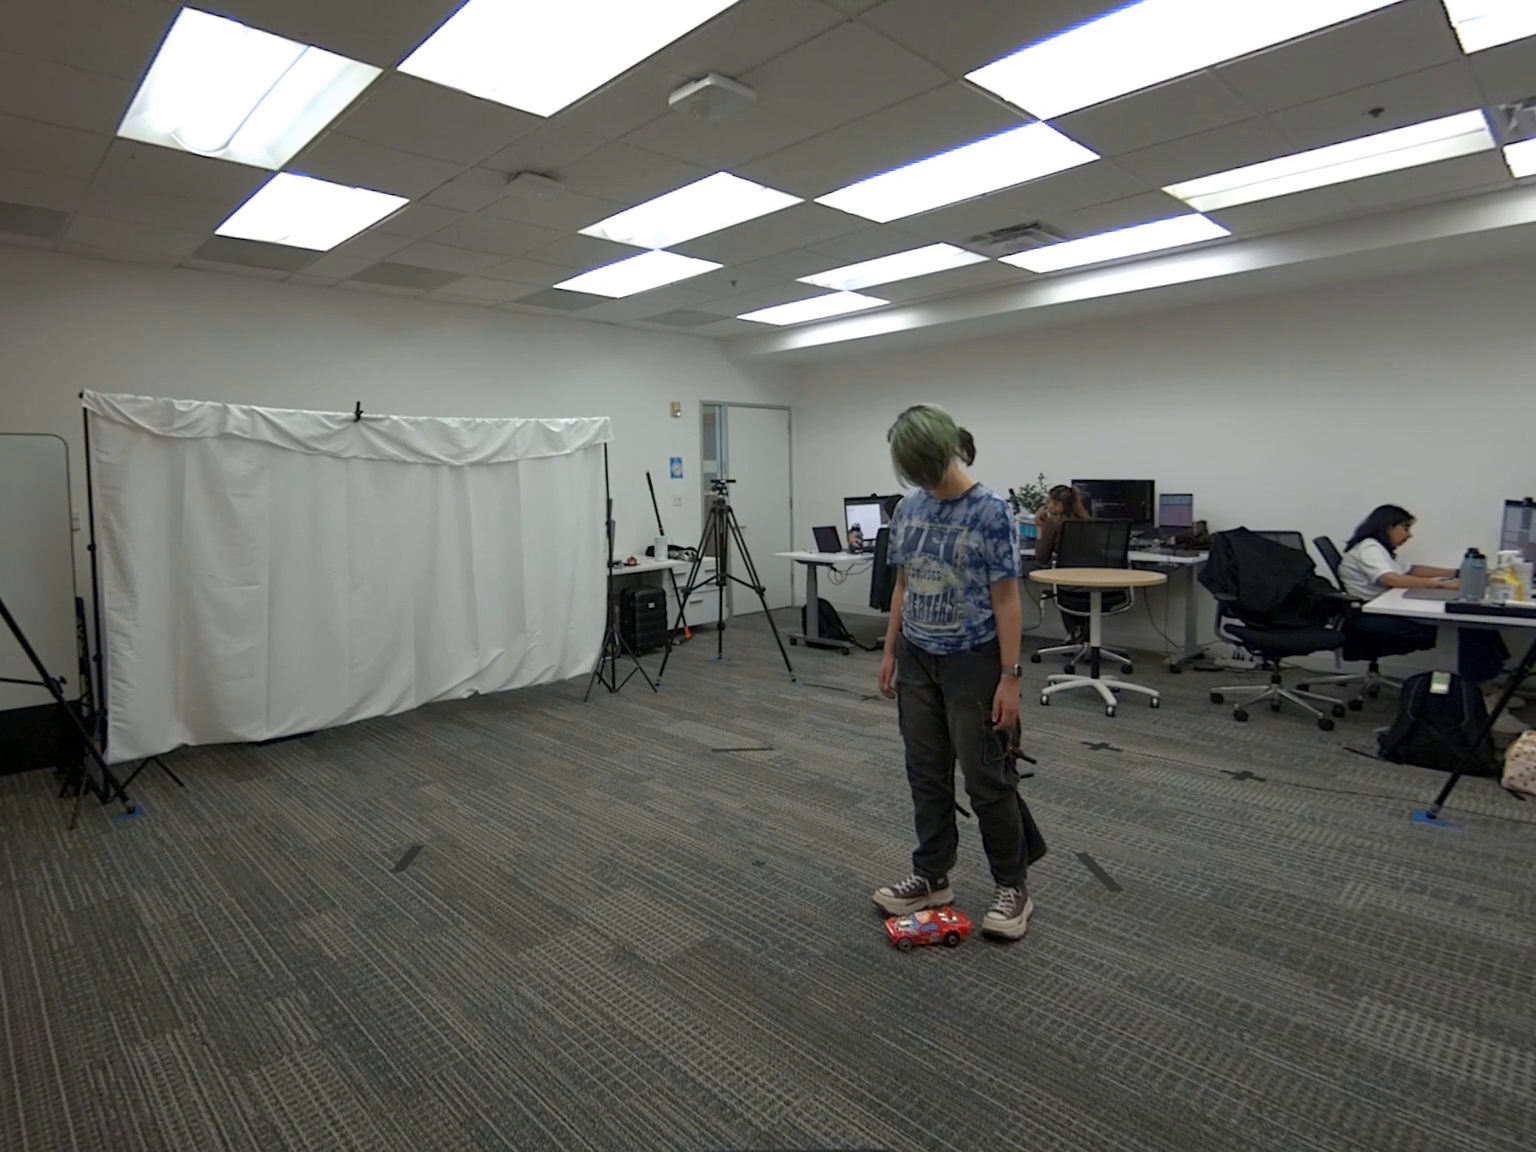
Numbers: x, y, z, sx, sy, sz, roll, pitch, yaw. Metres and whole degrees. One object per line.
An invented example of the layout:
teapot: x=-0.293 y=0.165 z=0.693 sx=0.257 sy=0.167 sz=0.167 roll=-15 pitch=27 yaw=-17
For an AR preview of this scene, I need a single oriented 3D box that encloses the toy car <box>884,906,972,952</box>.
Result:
toy car: x=0.488 y=1.066 z=2.580 sx=0.253 sy=0.083 sz=0.131 roll=-12 pitch=7 yaw=-5
